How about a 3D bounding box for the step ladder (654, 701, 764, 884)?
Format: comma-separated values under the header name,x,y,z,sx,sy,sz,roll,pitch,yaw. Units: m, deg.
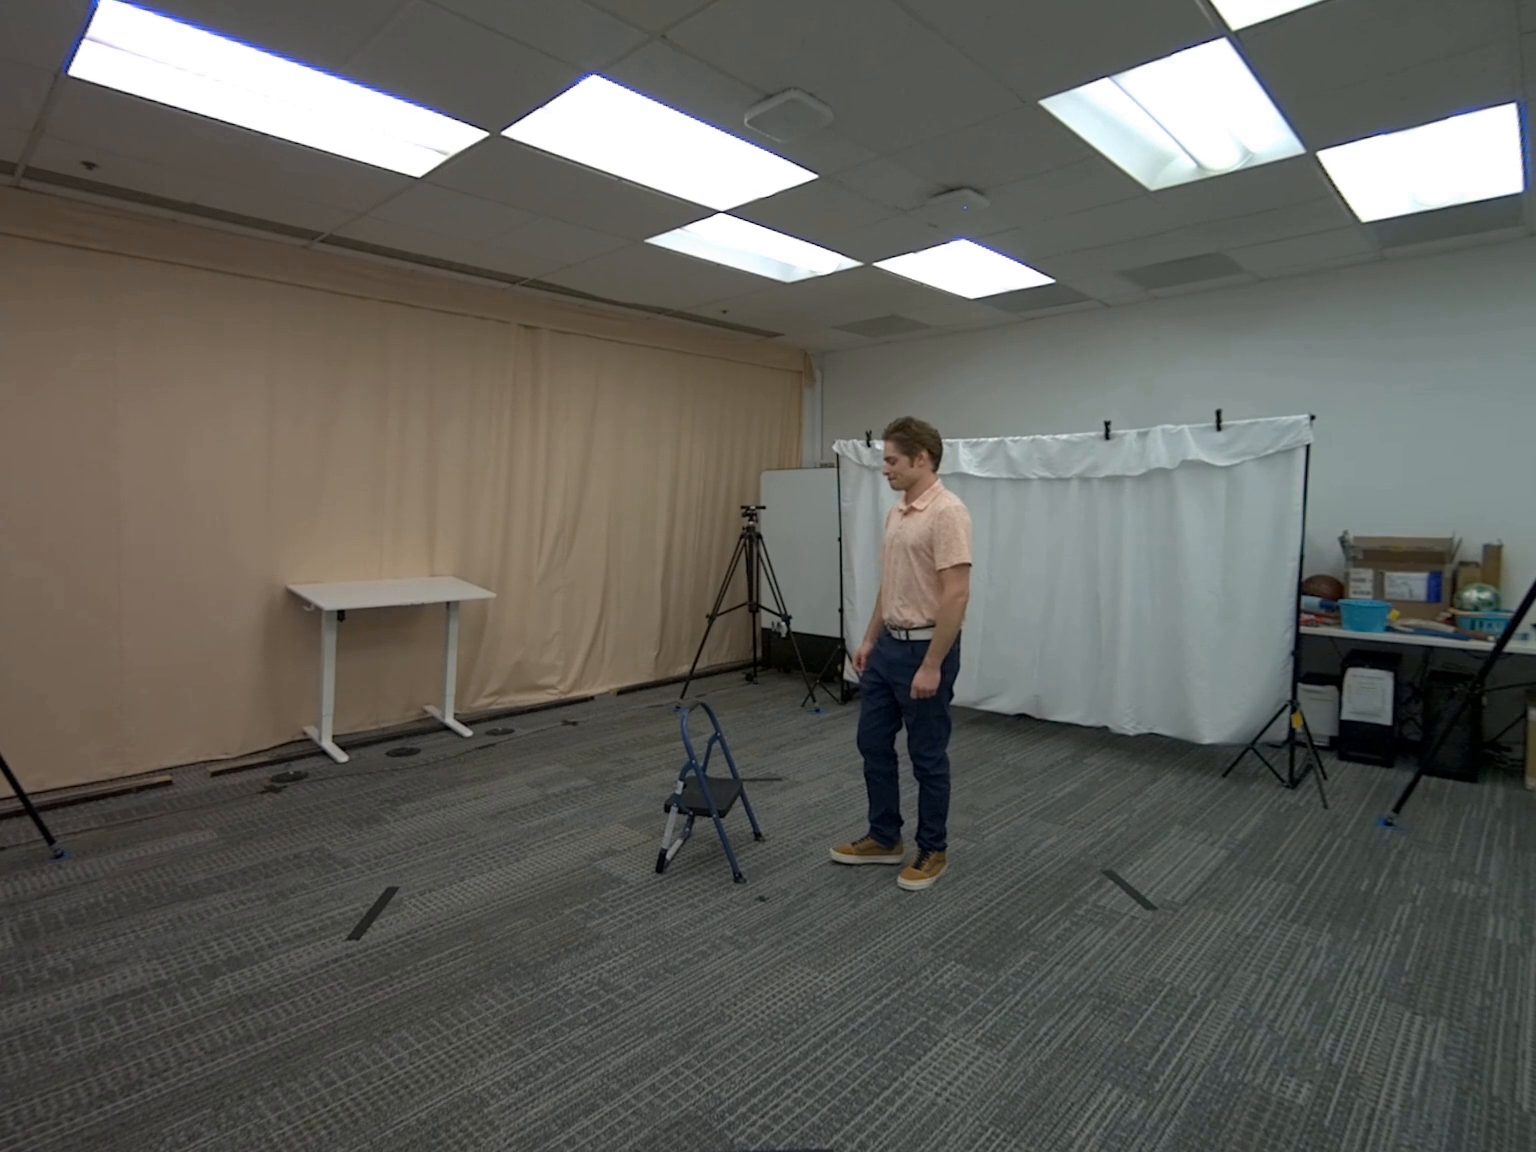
name,x,y,z,sx,sy,sz,roll,pitch,yaw
step ladder,-0.227,0.814,3.342,0.354,0.605,0.425,0,3,12
